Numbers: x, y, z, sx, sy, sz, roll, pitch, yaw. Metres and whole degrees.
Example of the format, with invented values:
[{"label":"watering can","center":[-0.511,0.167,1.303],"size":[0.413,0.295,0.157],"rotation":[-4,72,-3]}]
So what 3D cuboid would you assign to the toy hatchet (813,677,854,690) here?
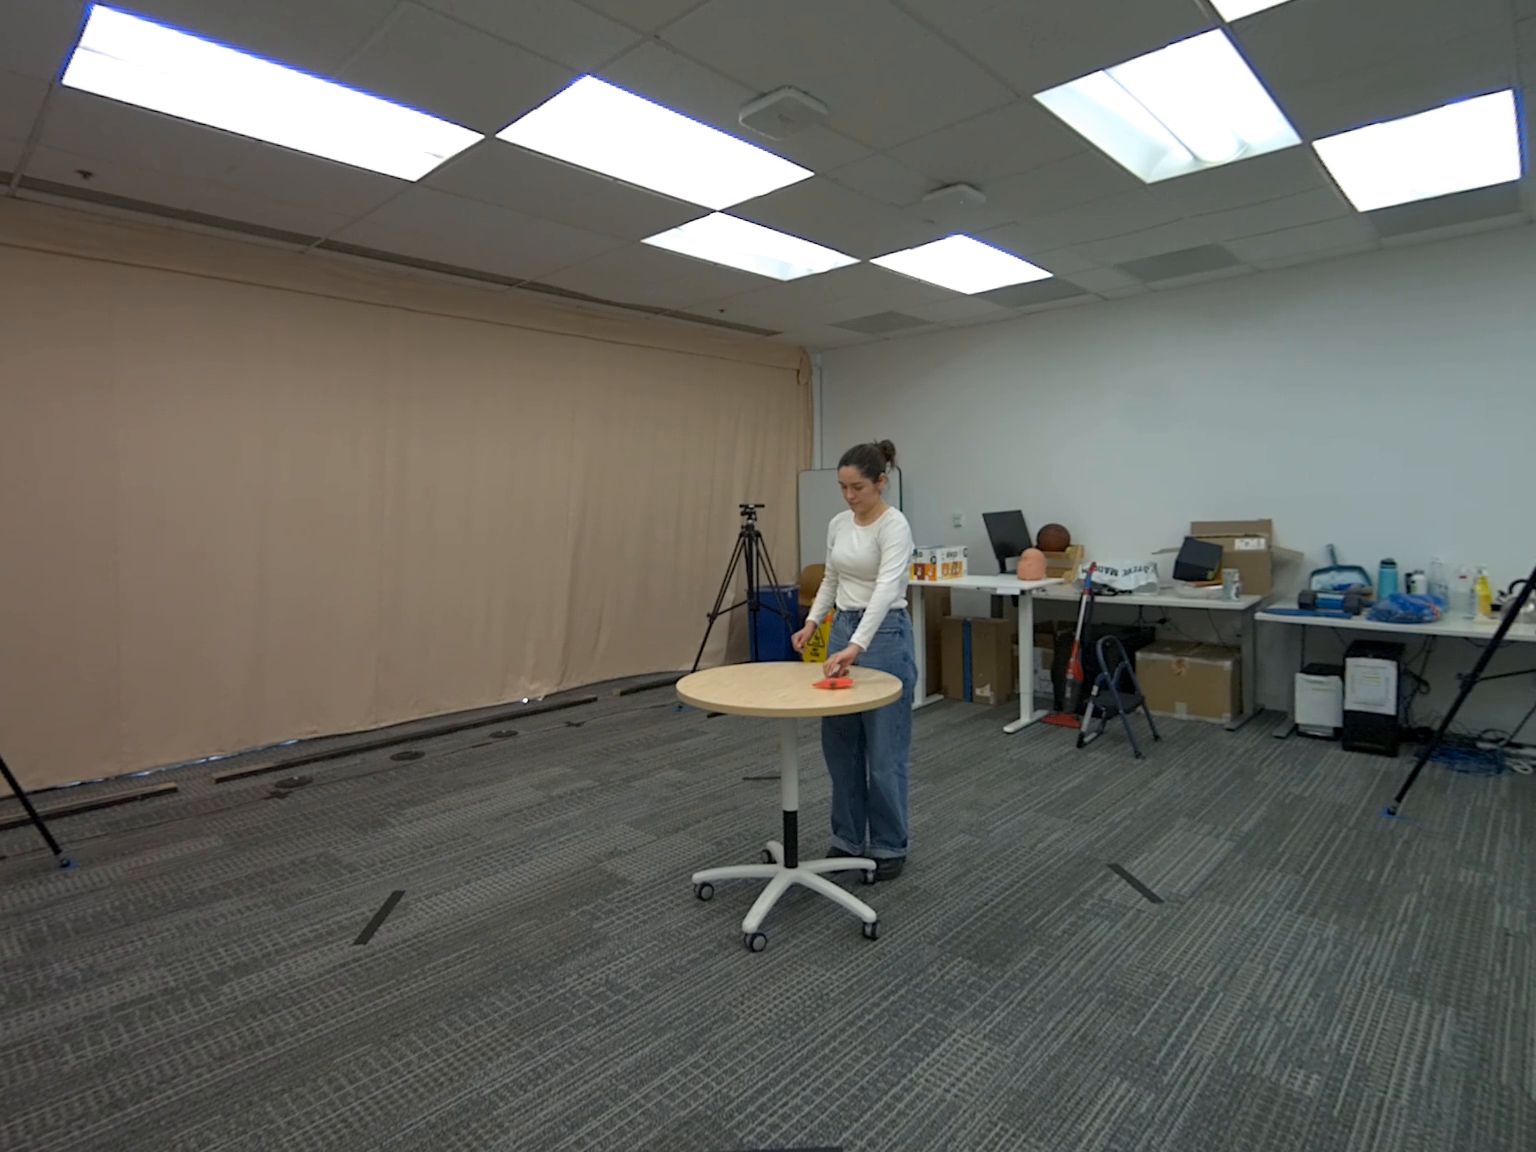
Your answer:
[{"label":"toy hatchet","center":[0.256,0.347,2.857],"size":[0.134,0.029,0.264],"rotation":[-5,2,25]}]
